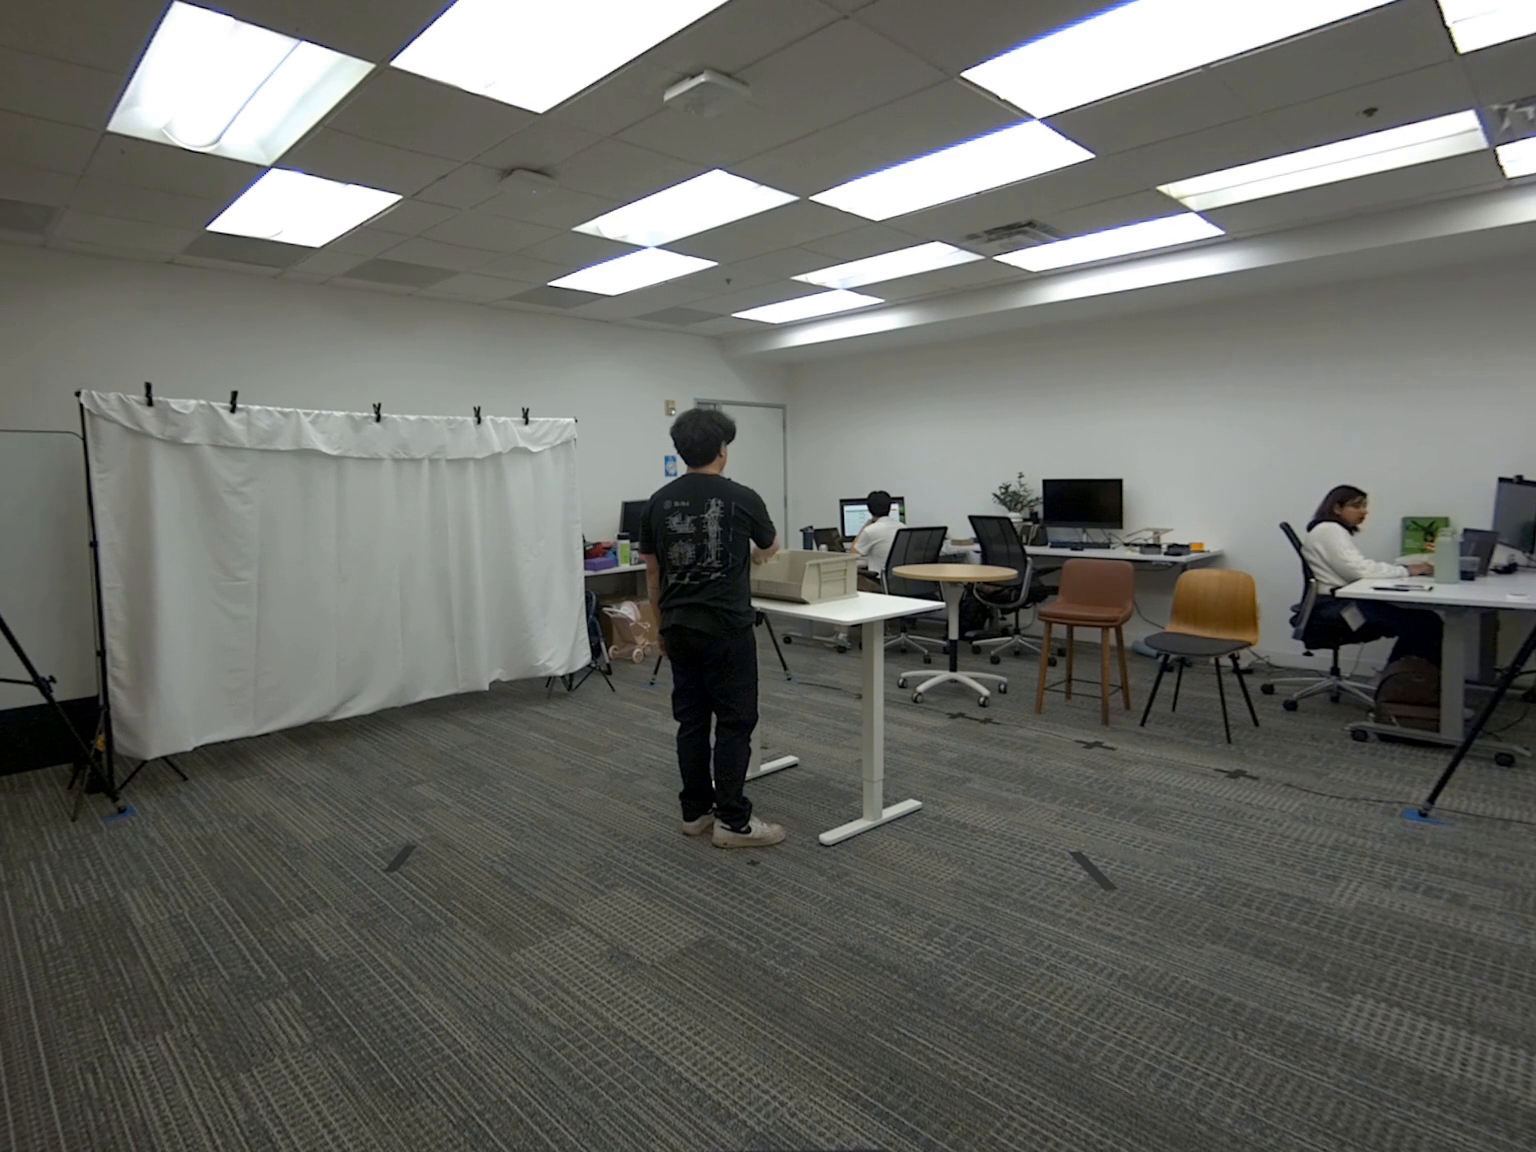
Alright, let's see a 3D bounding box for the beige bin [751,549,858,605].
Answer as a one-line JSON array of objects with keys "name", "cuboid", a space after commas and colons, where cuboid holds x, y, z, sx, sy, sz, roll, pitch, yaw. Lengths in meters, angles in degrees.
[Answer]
[{"name": "beige bin", "cuboid": [0.124, 0.003, 3.692, 0.367, 0.188, 0.436, -5, 8, -43]}]
